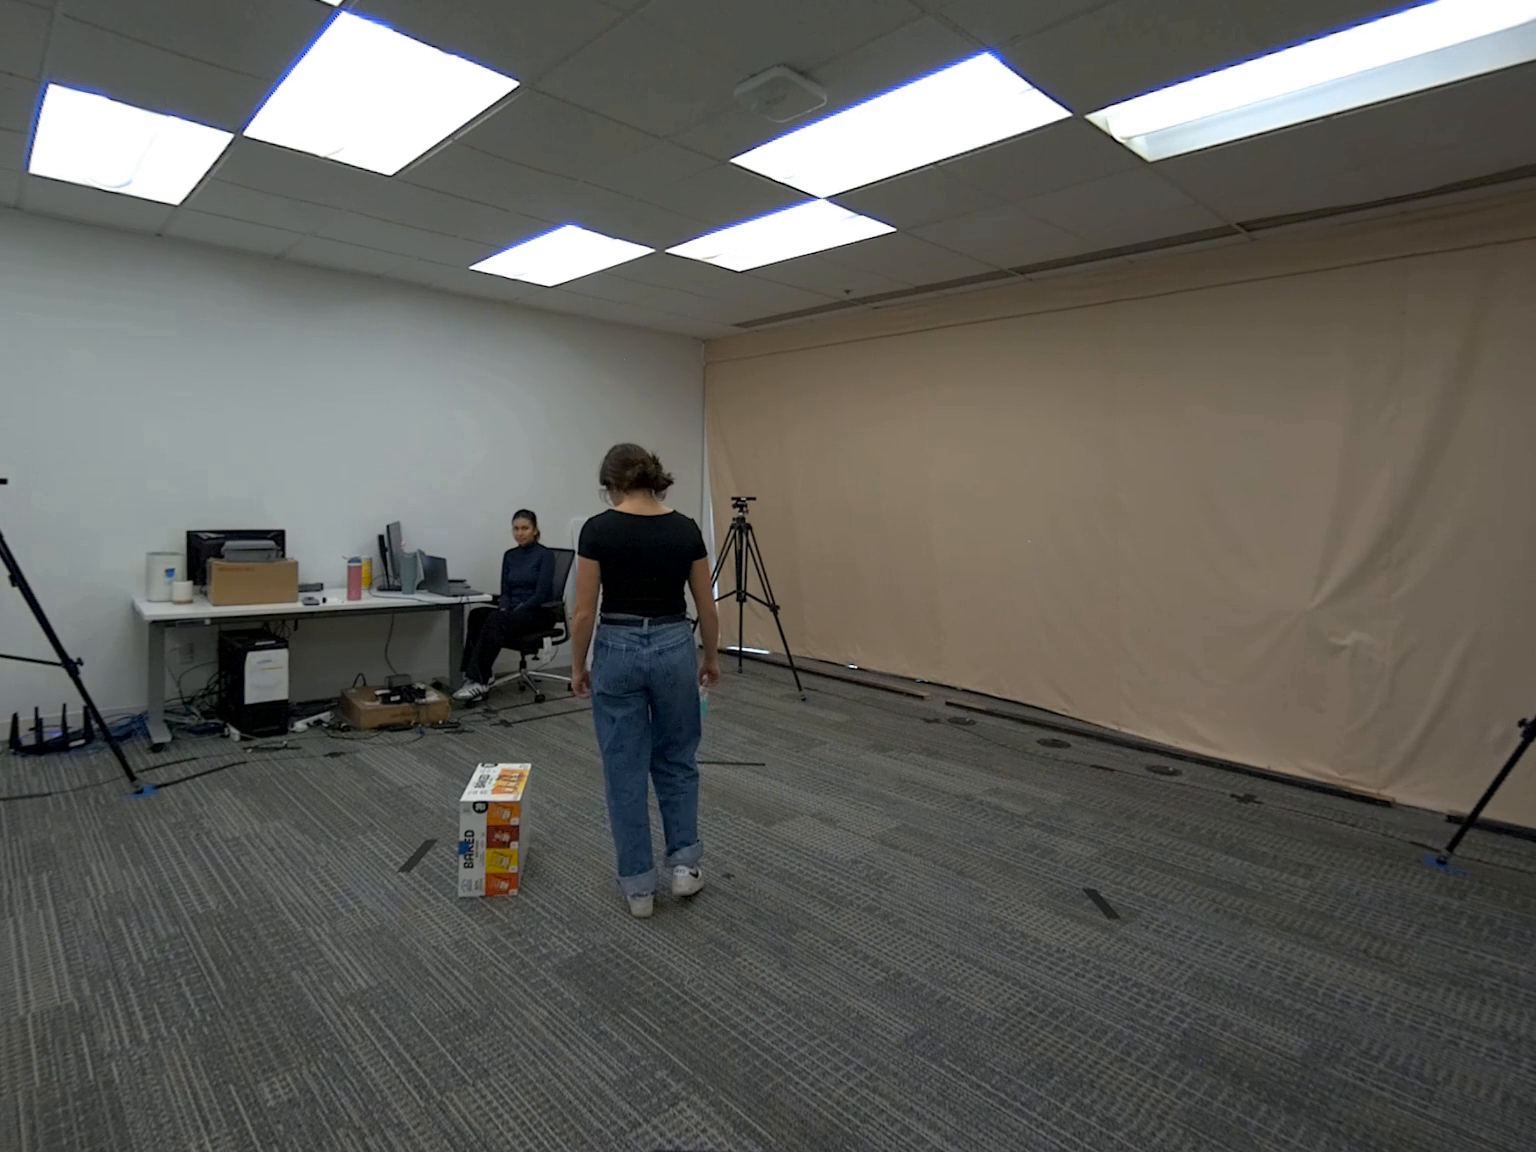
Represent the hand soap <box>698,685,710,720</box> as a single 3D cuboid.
[{"bbox_3d":[-0.248,0.459,3.052,0.042,0.166,0.087,0,26,-27],"label":"hand soap"}]
